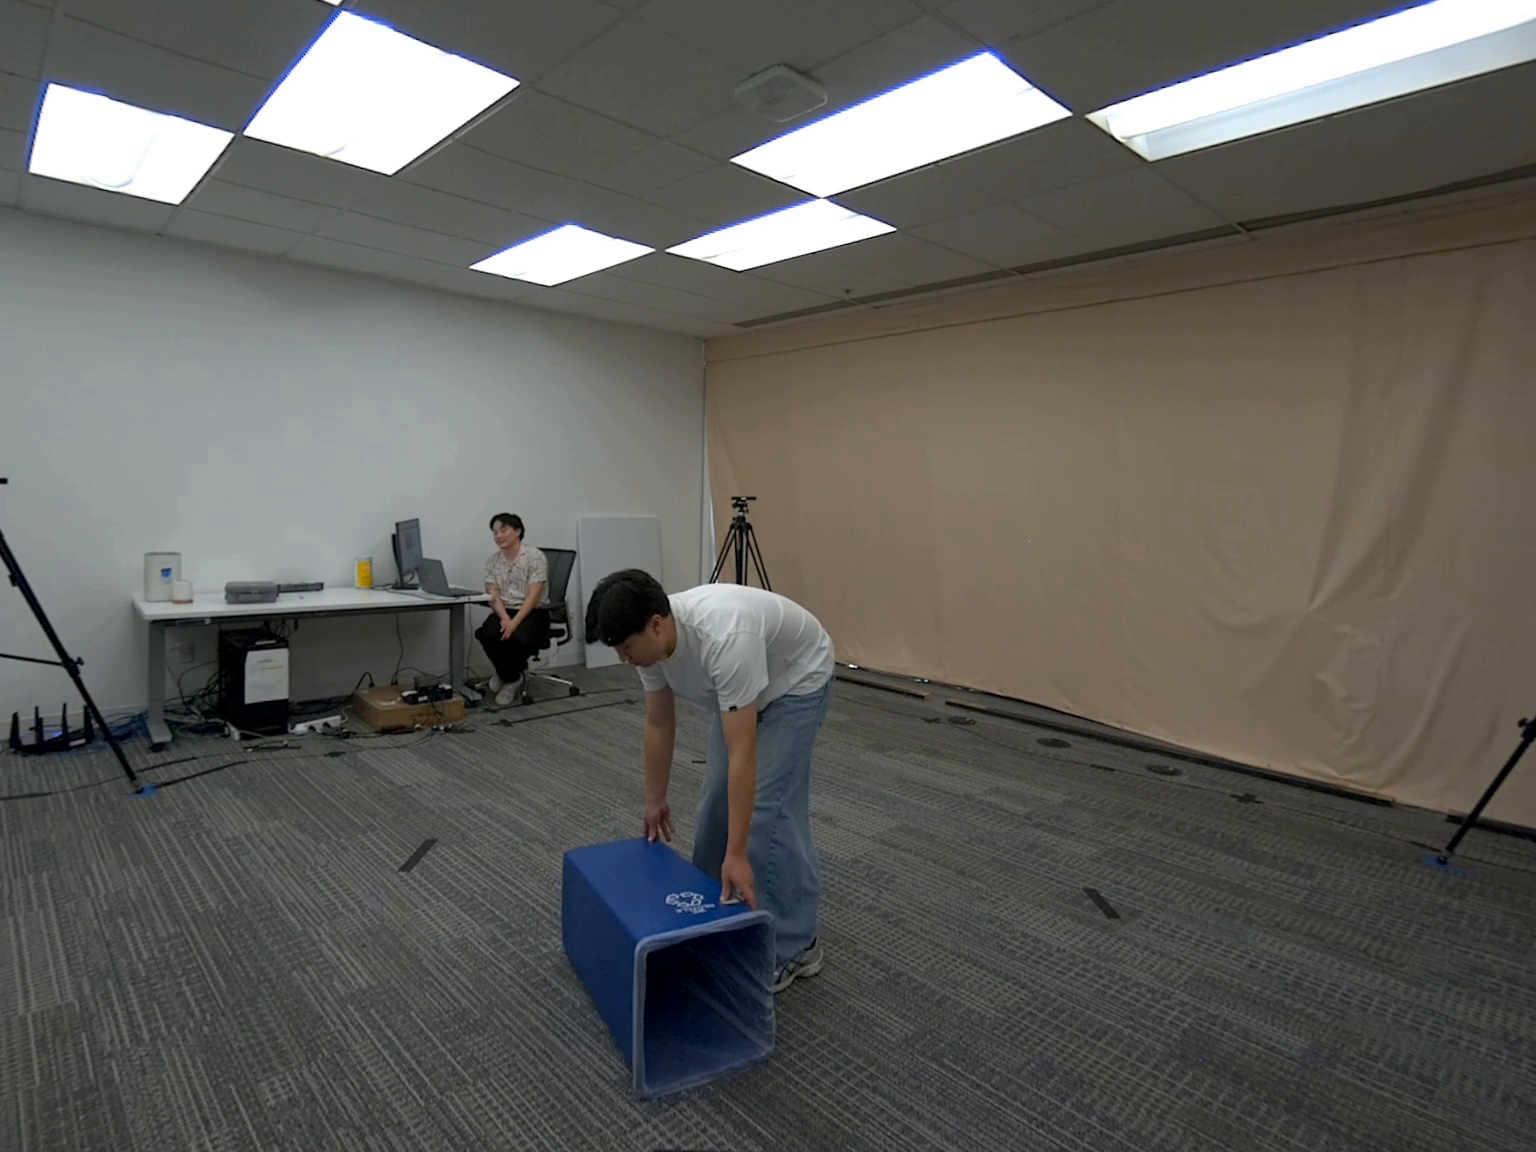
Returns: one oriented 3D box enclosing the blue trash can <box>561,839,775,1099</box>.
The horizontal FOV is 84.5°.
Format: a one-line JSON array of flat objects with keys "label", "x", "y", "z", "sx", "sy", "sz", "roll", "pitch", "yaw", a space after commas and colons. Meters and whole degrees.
[{"label": "blue trash can", "x": -0.322, "y": 1.008, "z": 2.317, "sx": 0.366, "sy": 0.378, "sz": 0.729, "roll": -1, "pitch": 2, "yaw": -30}]
